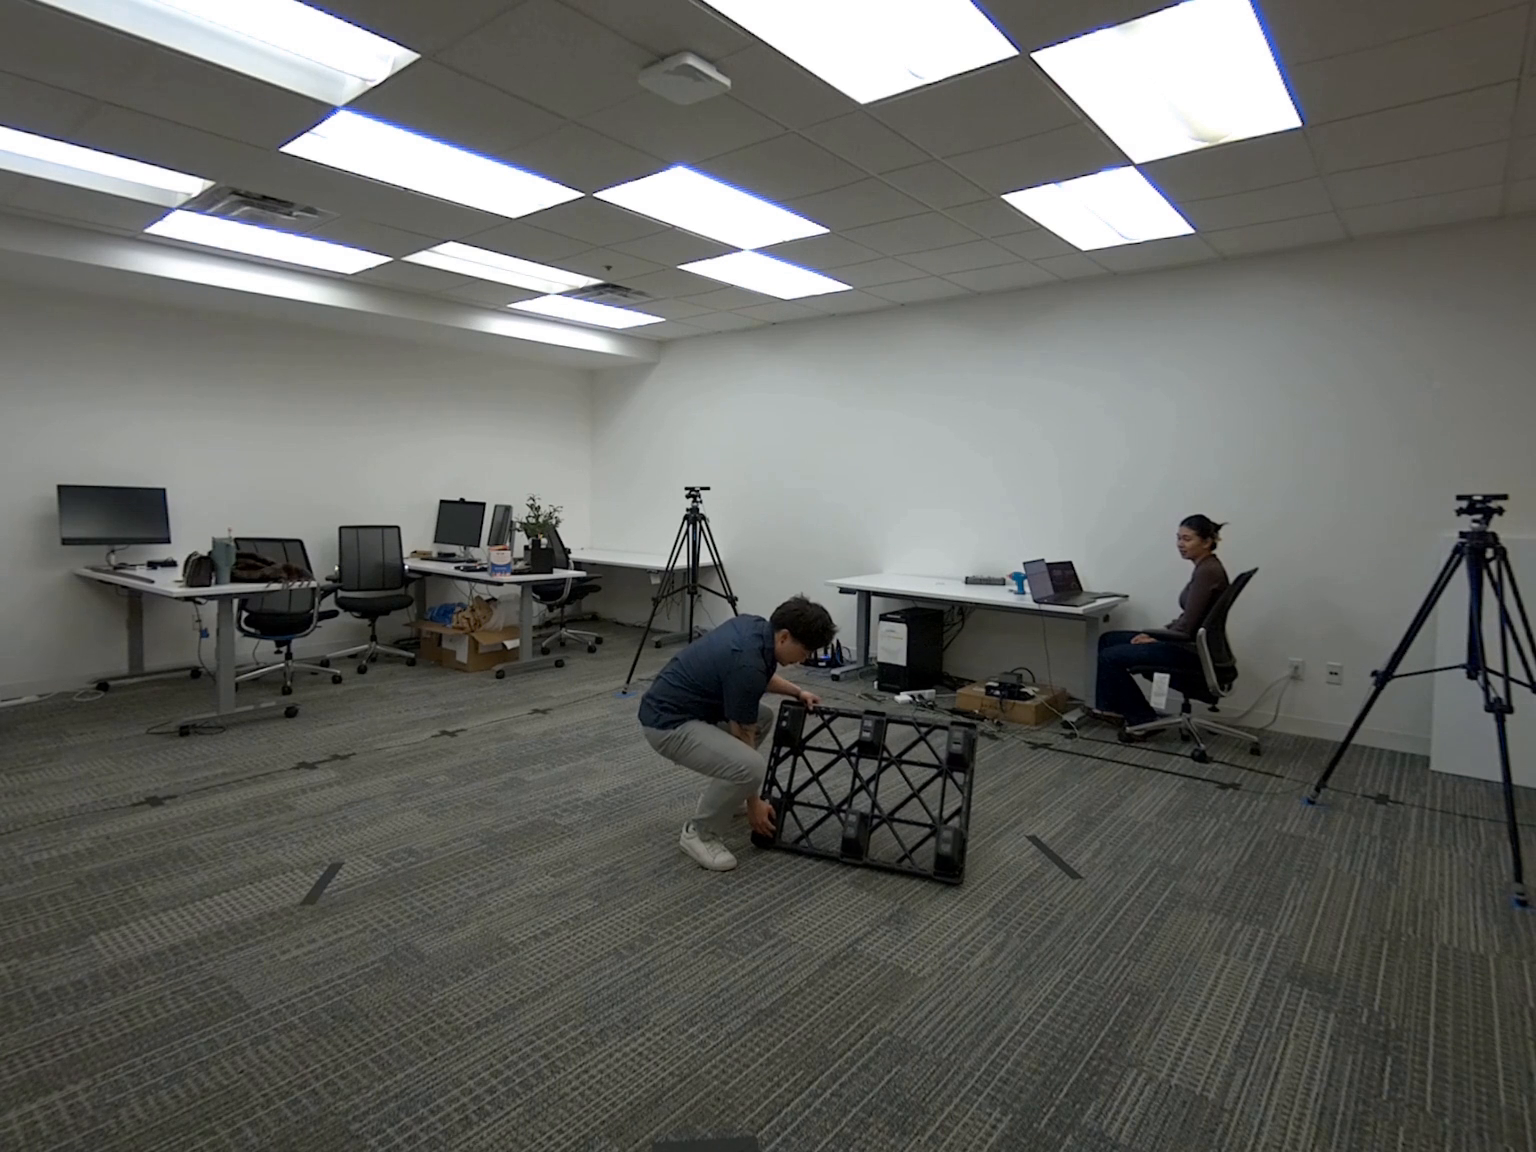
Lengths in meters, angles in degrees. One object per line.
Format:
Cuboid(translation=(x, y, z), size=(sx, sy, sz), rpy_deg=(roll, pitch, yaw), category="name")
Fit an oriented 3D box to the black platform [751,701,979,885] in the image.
Cuboid(translation=(0.369, 0.786, 3.261), size=(0.823, 0.616, 0.138), rpy_deg=(2, -32, 20), category="black platform")
